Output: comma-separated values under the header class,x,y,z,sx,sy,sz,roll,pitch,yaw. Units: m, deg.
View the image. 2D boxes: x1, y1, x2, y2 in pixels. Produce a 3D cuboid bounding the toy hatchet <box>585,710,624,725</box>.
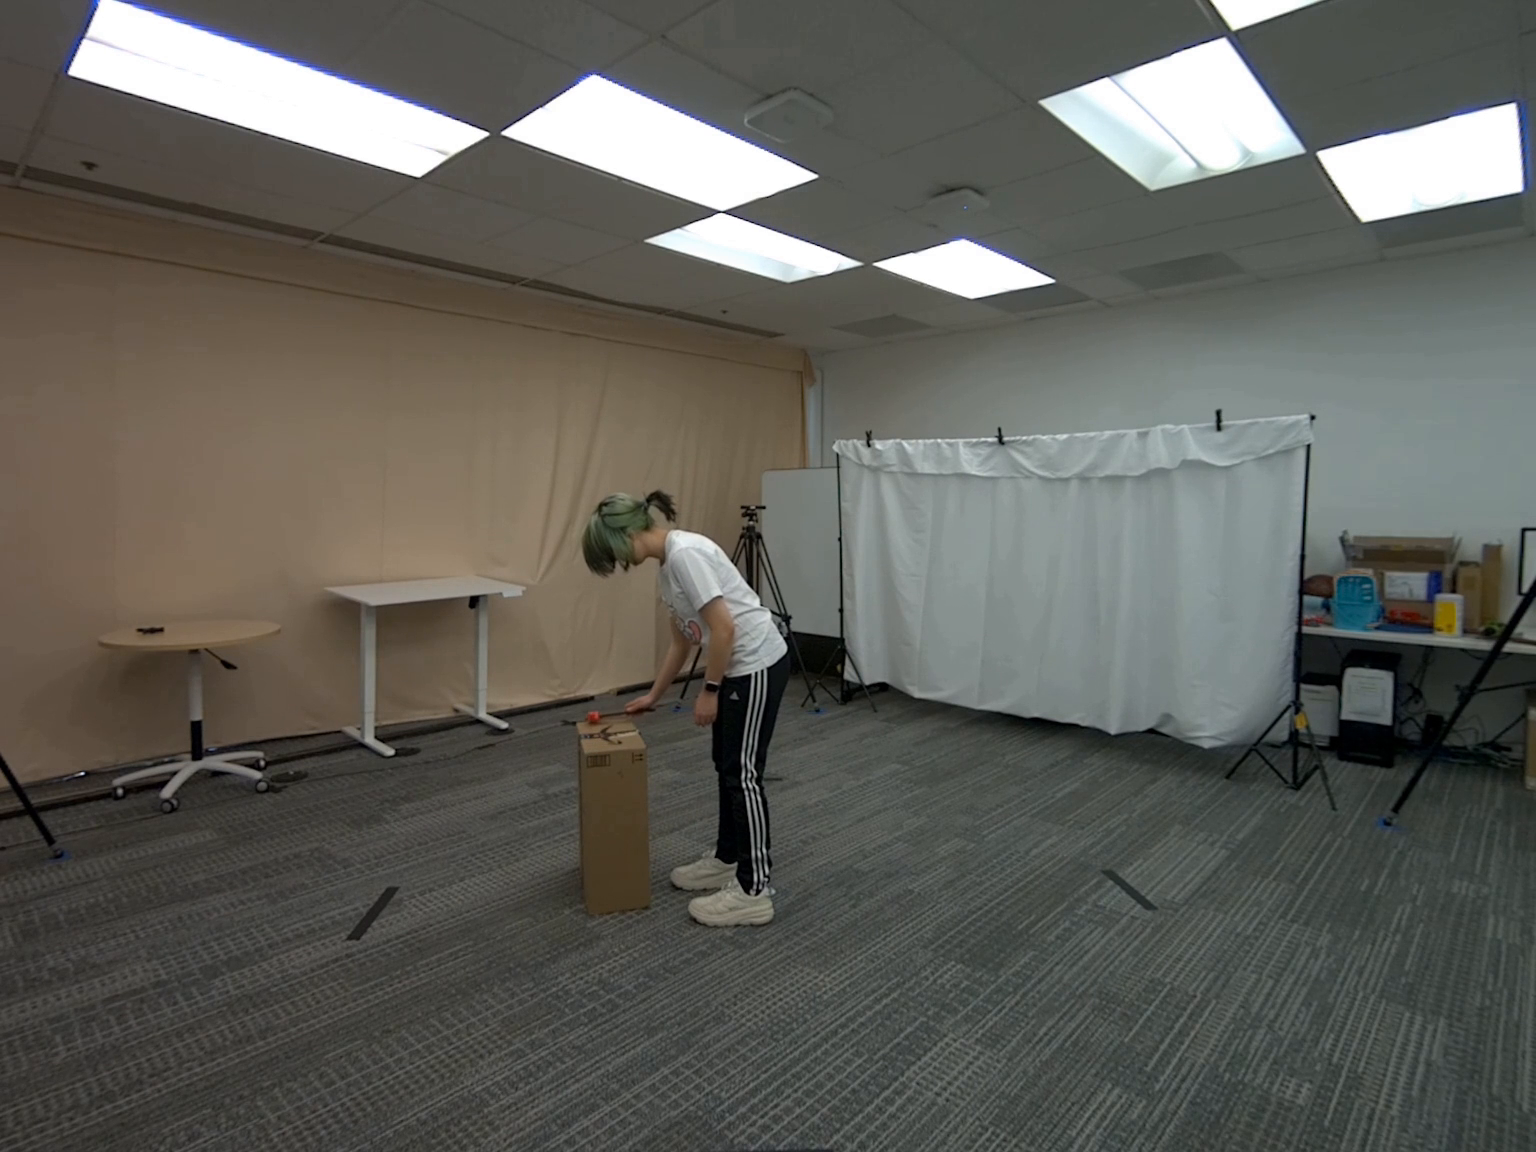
class,x,y,z,sx,sy,sz,roll,pitch,yaw
toy hatchet,-0.575,0.536,3.272,0.263,0.030,0.133,-2,-16,-26
